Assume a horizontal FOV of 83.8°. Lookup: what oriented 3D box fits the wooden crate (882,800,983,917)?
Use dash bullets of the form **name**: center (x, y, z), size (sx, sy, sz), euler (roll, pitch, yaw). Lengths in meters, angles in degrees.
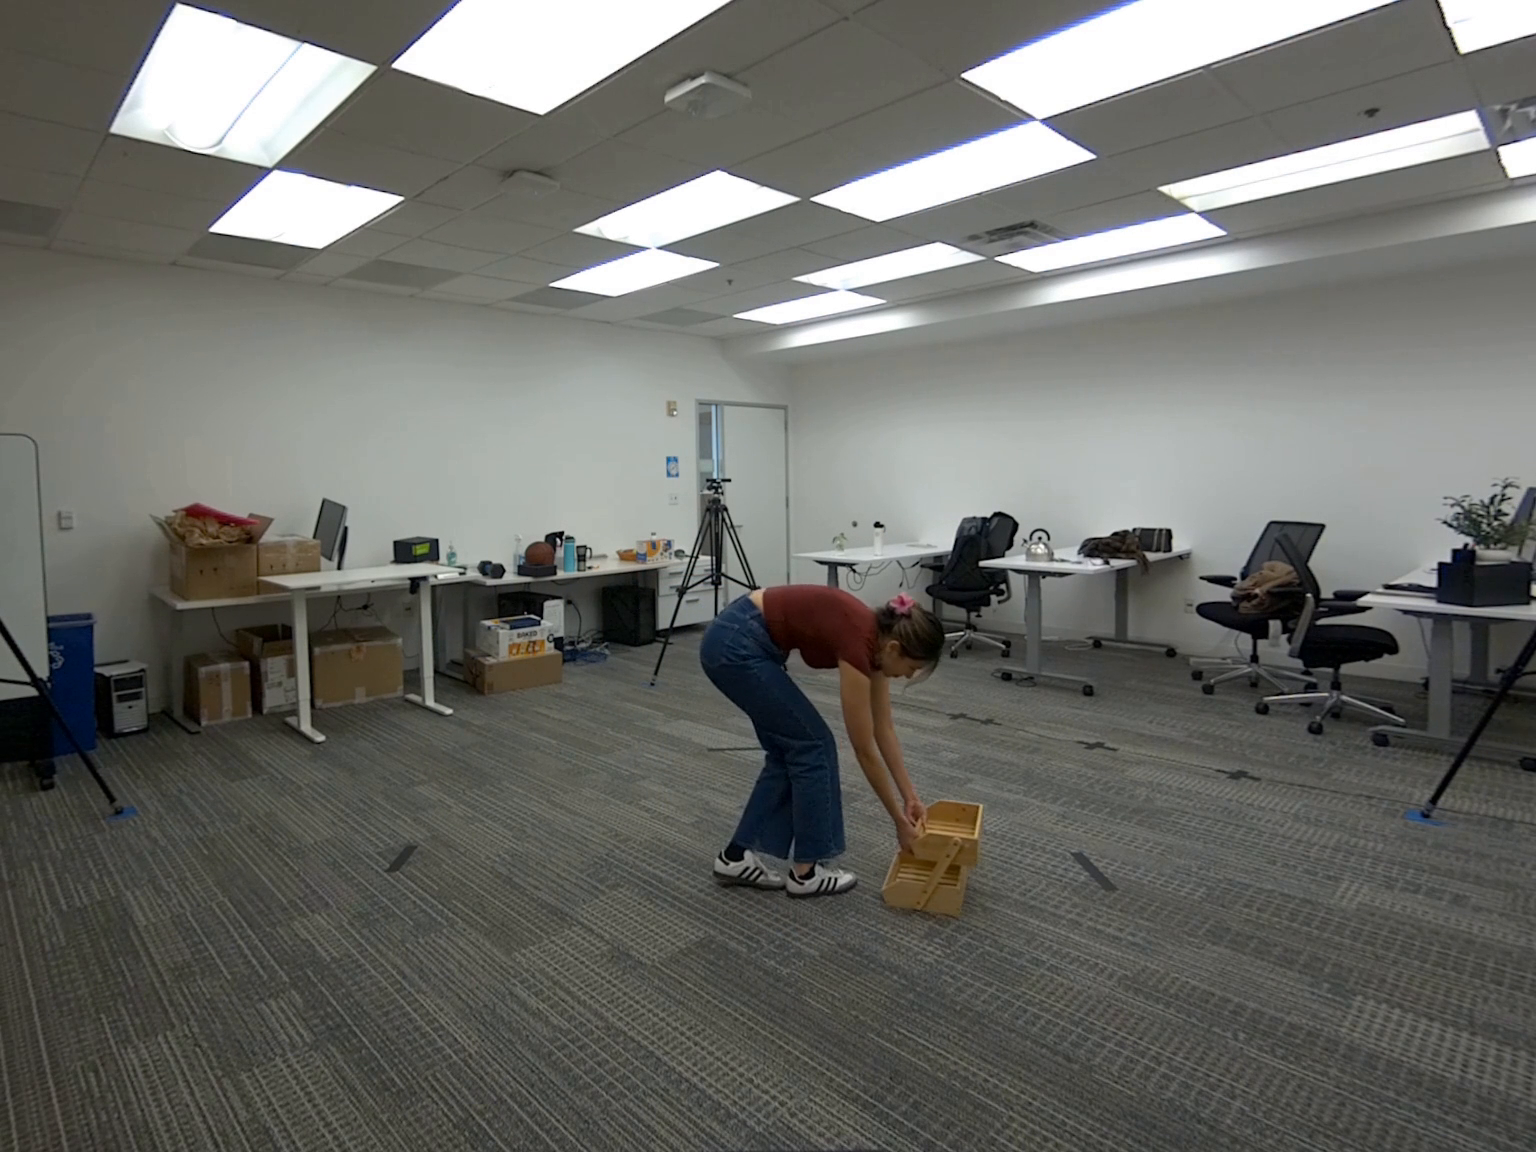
- **wooden crate**: center (0.550, 0.924, 2.862), size (0.307, 0.272, 0.320), euler (1, 5, 18)
